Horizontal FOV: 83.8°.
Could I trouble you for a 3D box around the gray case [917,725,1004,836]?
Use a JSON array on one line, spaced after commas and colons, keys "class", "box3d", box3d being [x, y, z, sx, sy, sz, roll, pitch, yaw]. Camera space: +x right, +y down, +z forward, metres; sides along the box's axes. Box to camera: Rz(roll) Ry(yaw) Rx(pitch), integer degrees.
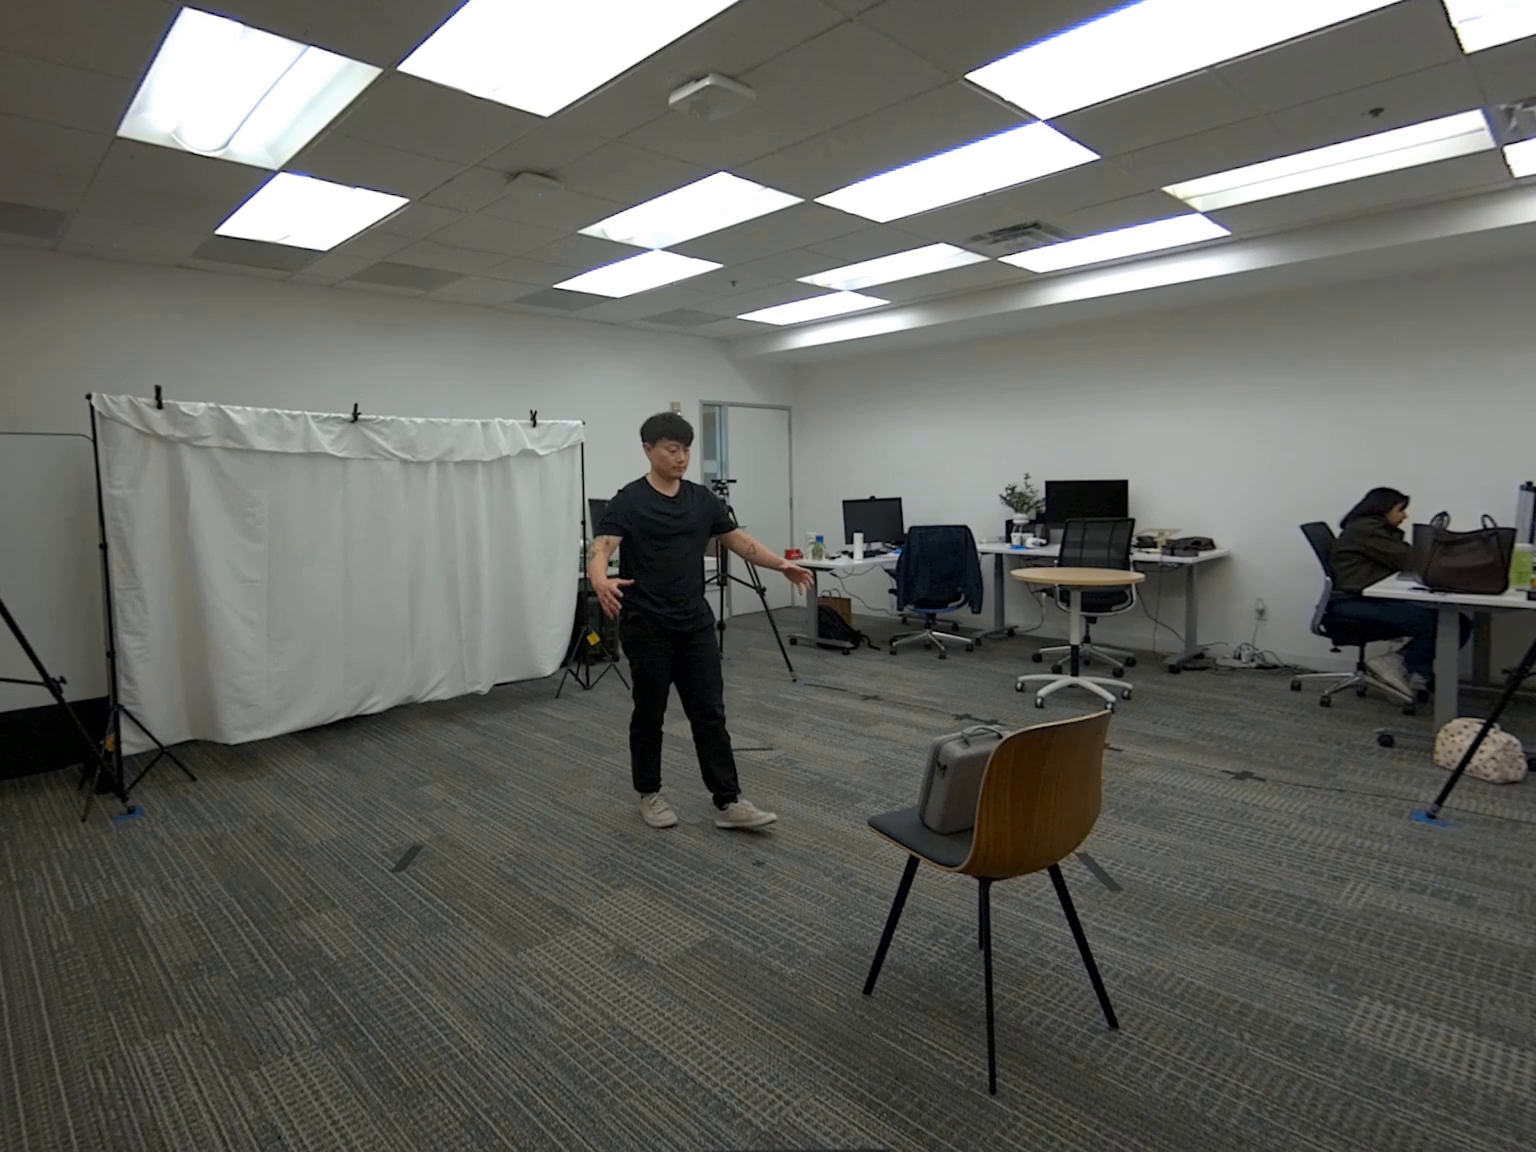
[{"class": "gray case", "box3d": [0.540, 0.527, 2.230, 0.252, 0.257, 0.108, -2, 19, -24]}]
